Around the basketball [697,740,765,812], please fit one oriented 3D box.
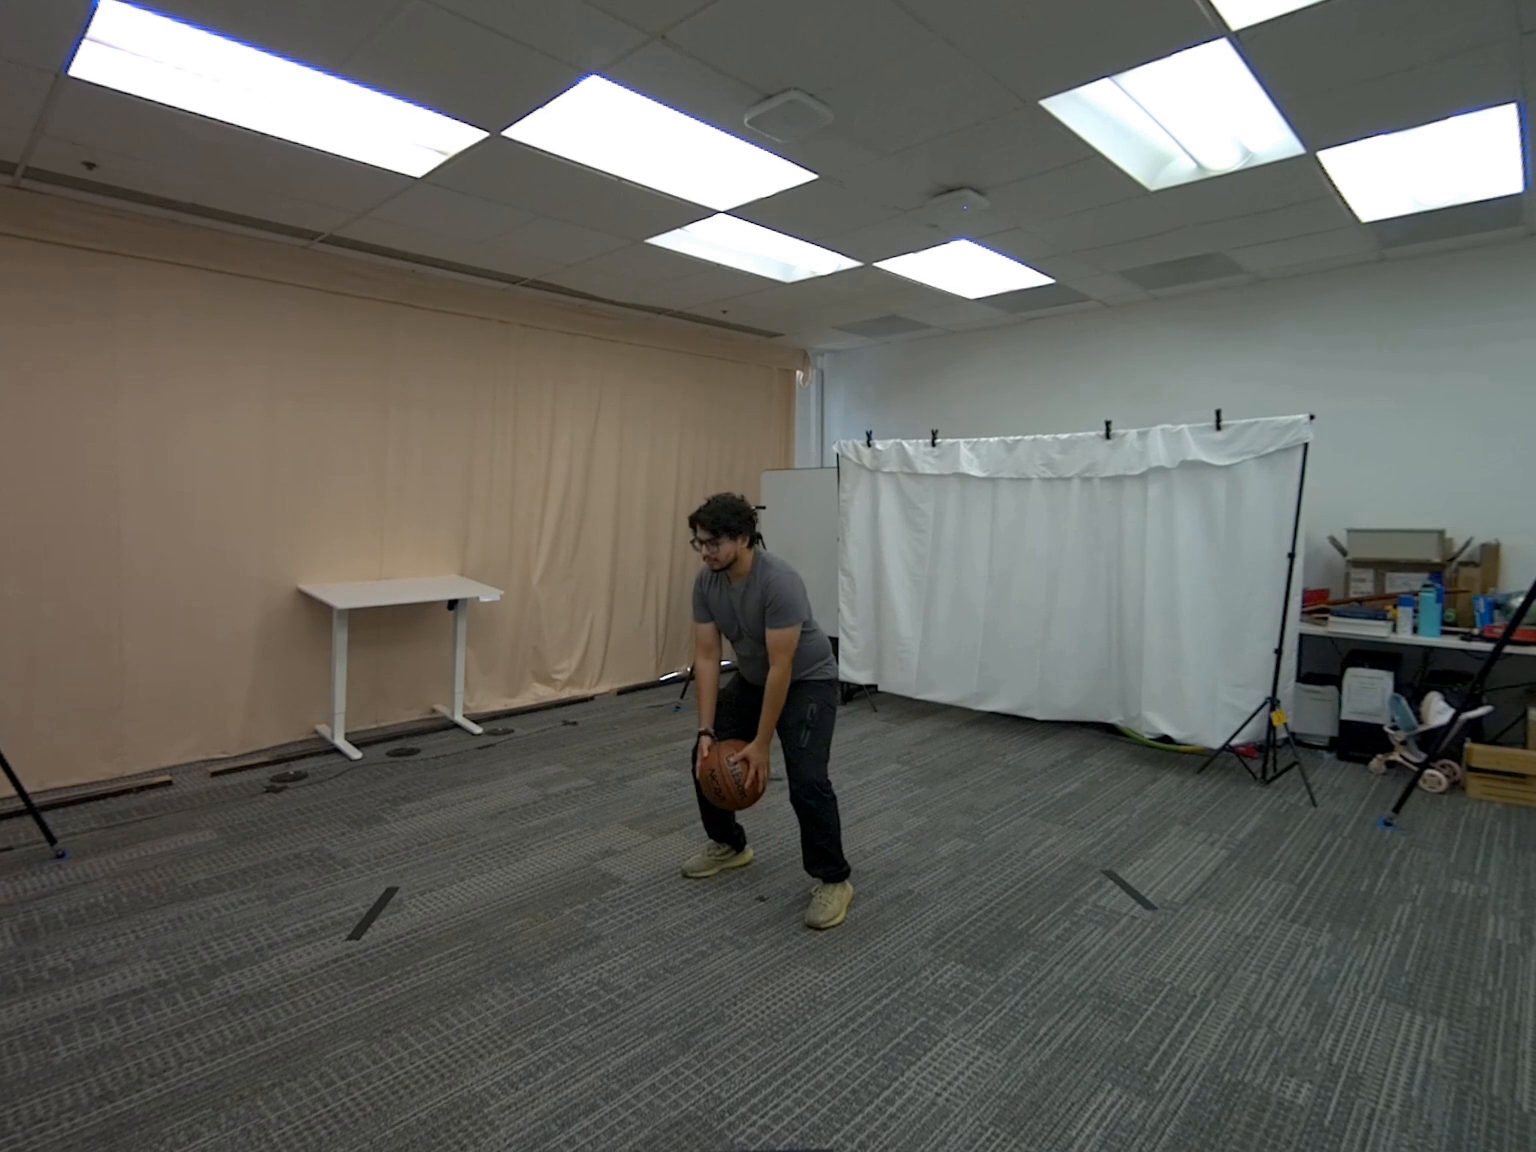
[{"bbox_3d":[-0.118,0.682,2.909,0.236,0.235,0.237,0,4,-2],"label":"basketball"}]
